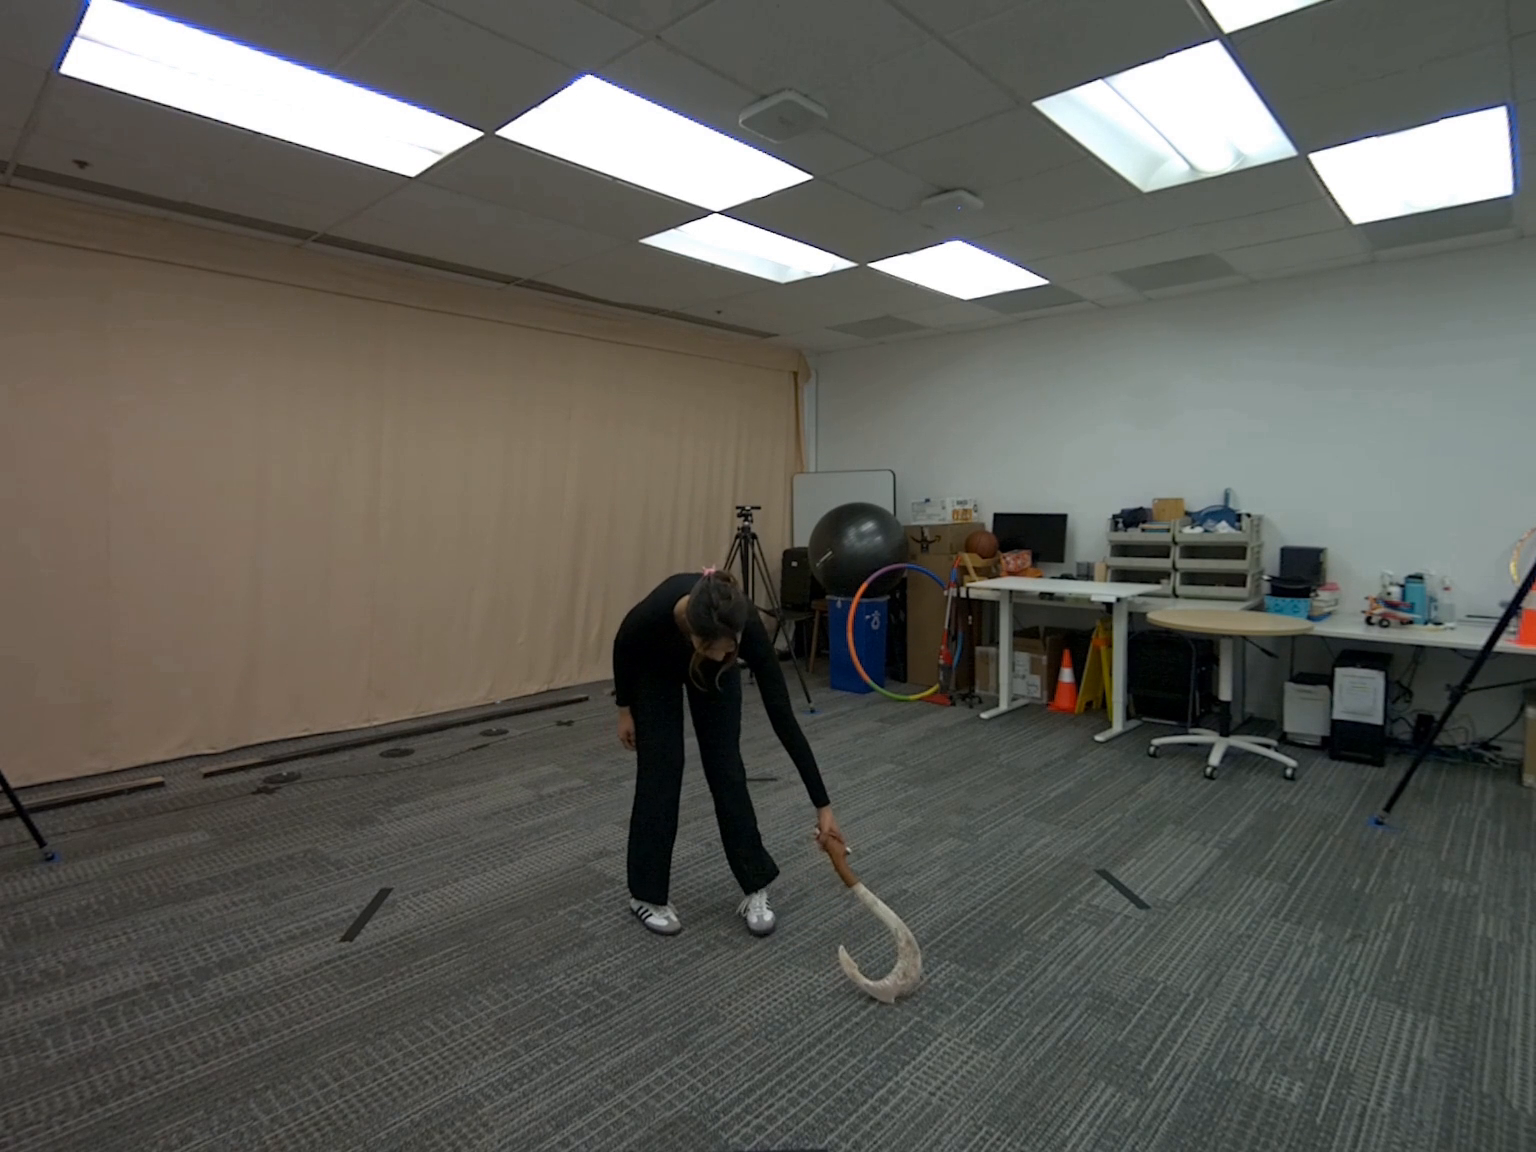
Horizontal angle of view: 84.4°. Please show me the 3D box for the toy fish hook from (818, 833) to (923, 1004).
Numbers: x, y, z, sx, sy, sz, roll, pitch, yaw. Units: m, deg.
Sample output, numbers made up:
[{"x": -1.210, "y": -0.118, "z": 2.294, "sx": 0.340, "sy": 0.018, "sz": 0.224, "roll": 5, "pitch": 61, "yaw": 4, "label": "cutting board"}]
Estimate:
[{"x": 0.253, "y": 0.977, "z": 2.442, "sx": 0.222, "sy": 0.518, "sz": 0.048, "roll": -26, "pitch": -23, "yaw": -16, "label": "toy fish hook"}]
